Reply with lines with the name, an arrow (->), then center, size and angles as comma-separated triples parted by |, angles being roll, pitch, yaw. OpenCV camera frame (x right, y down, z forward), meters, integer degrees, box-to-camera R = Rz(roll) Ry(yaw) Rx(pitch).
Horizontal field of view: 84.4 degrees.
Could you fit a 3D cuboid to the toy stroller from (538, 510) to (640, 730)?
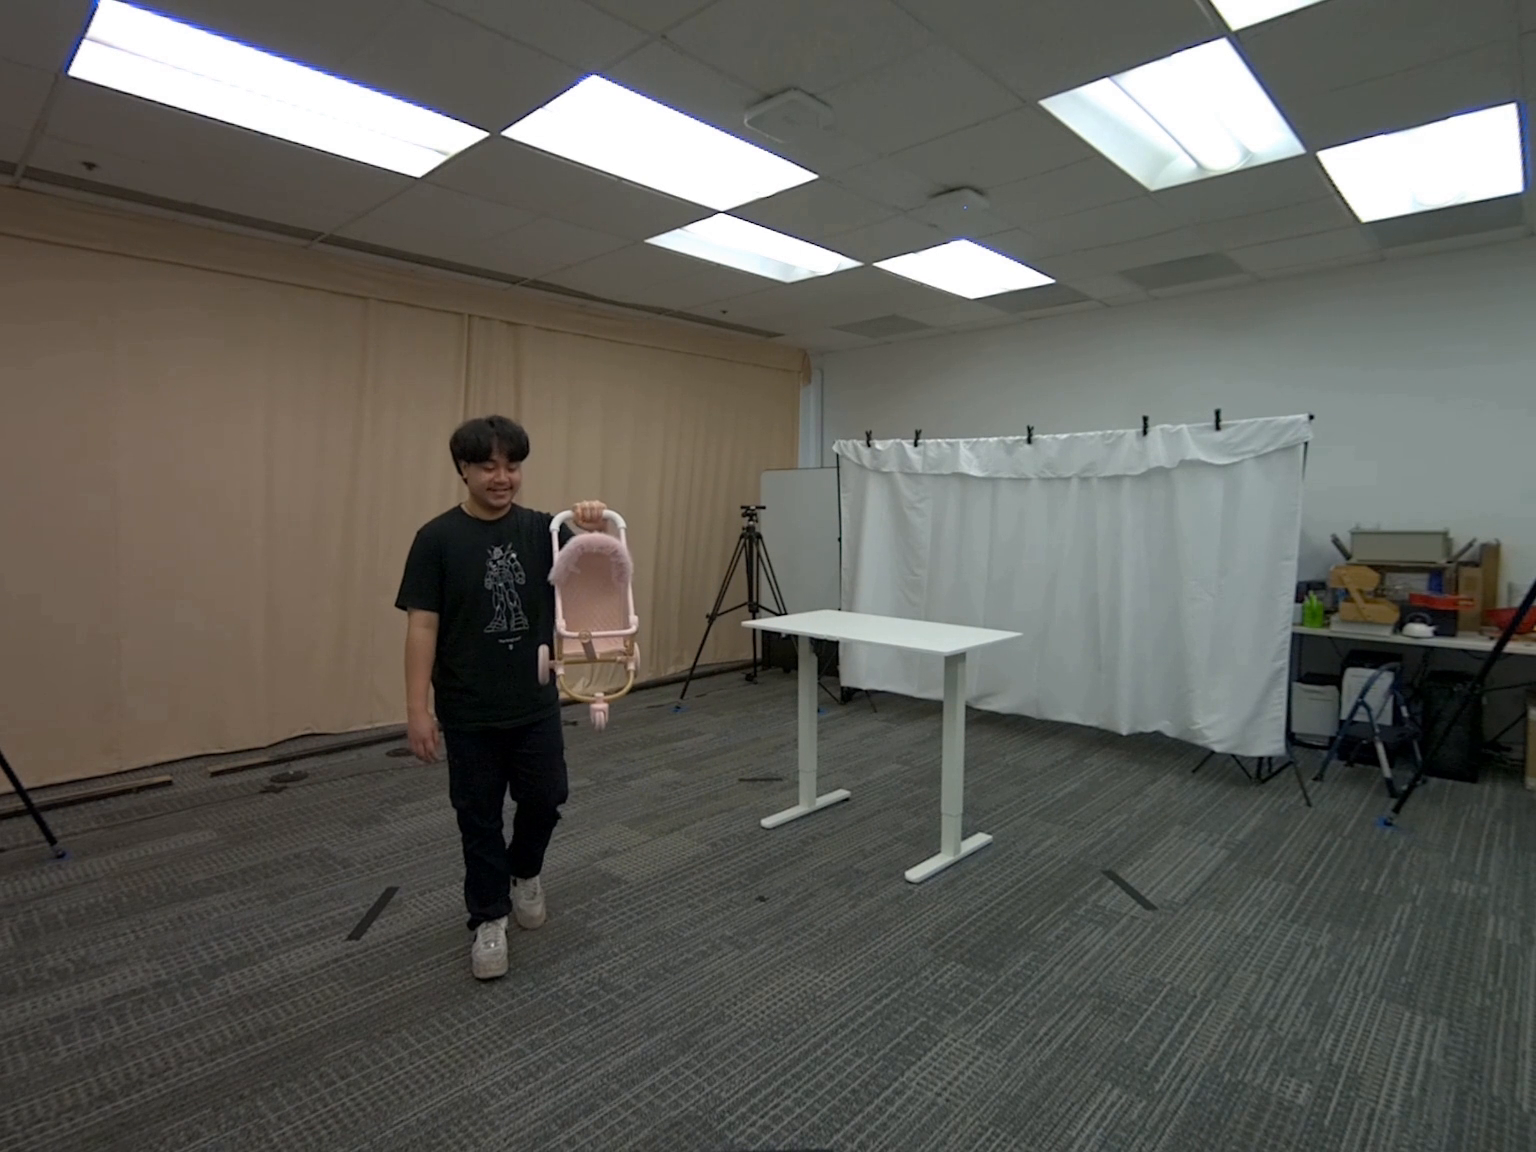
toy stroller -> -0.466, 0.116, 2.240 | 0.277, 0.532, 0.348 | 0, 10, -14
